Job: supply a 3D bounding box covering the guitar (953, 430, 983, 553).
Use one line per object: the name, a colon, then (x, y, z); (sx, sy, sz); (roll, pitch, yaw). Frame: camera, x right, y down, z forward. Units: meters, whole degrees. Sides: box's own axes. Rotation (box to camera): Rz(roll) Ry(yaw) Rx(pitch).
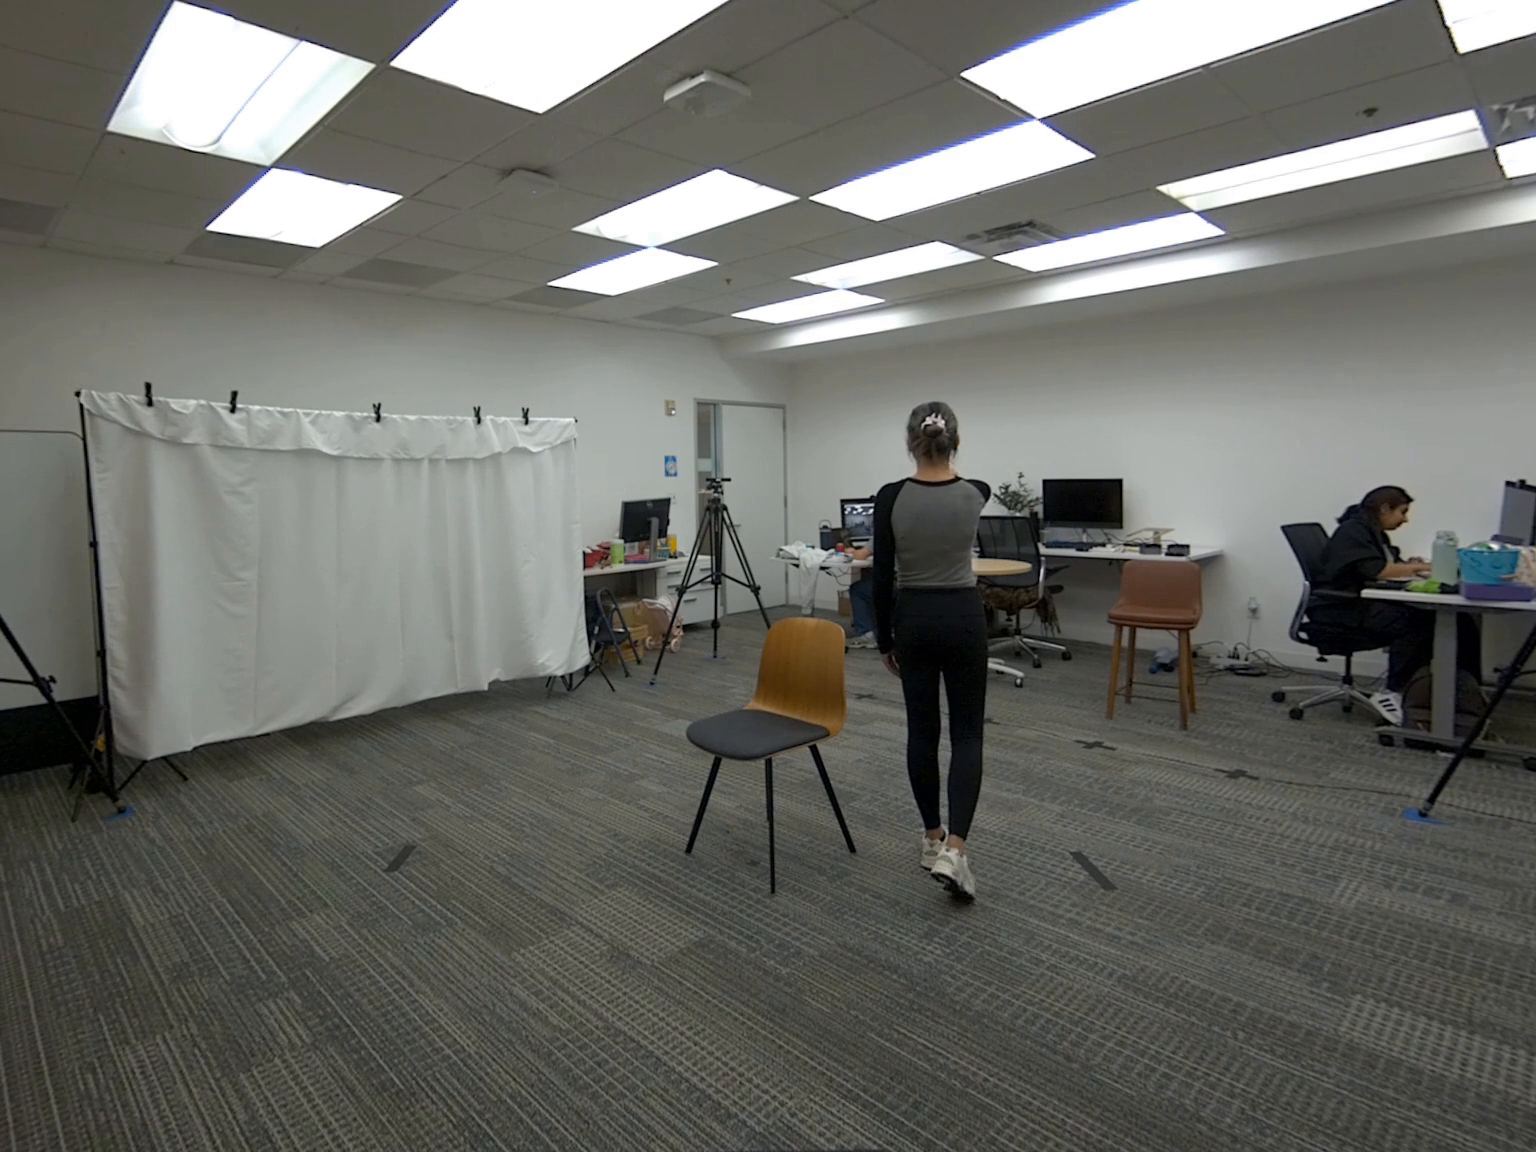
guitar: (0.783, -0.355, 3.577); (0.192, 0.500, 0.070); (3, -6, -4)
